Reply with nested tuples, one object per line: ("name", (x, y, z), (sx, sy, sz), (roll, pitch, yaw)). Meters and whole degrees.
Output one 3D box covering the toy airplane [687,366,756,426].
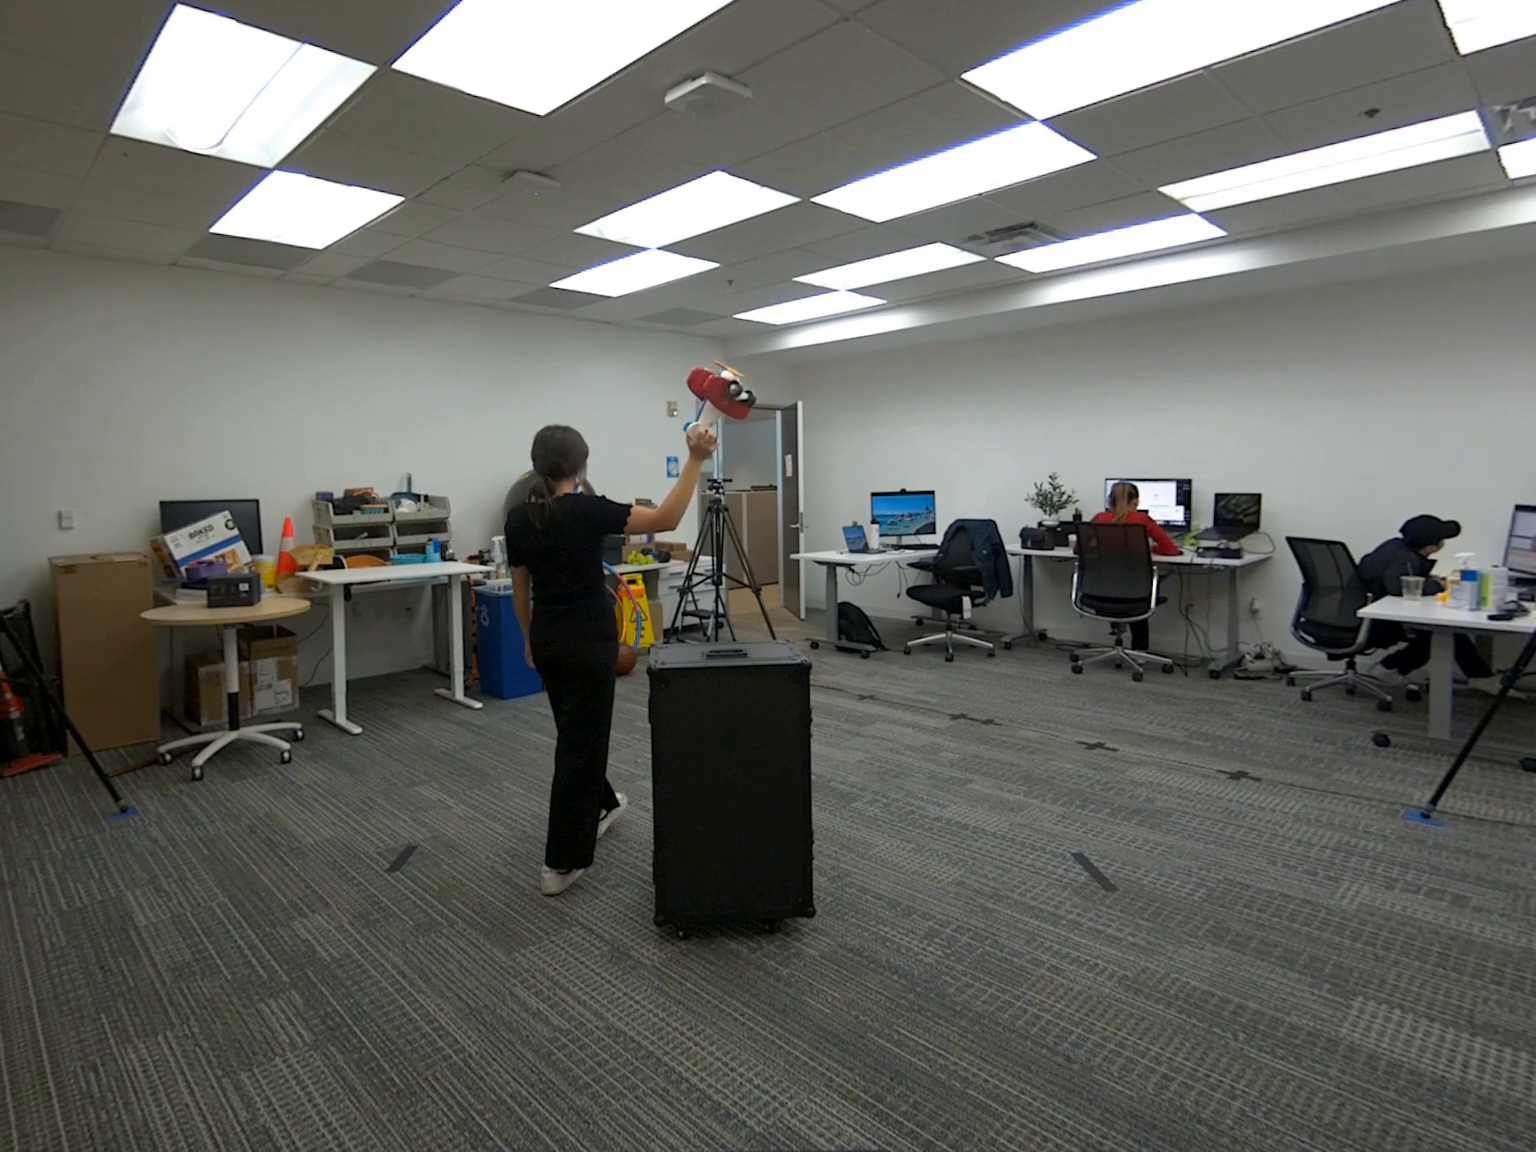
("toy airplane", (-0.172, -0.565, 2.801), (0.258, 0.243, 0.162), (-34, 57, -13))
